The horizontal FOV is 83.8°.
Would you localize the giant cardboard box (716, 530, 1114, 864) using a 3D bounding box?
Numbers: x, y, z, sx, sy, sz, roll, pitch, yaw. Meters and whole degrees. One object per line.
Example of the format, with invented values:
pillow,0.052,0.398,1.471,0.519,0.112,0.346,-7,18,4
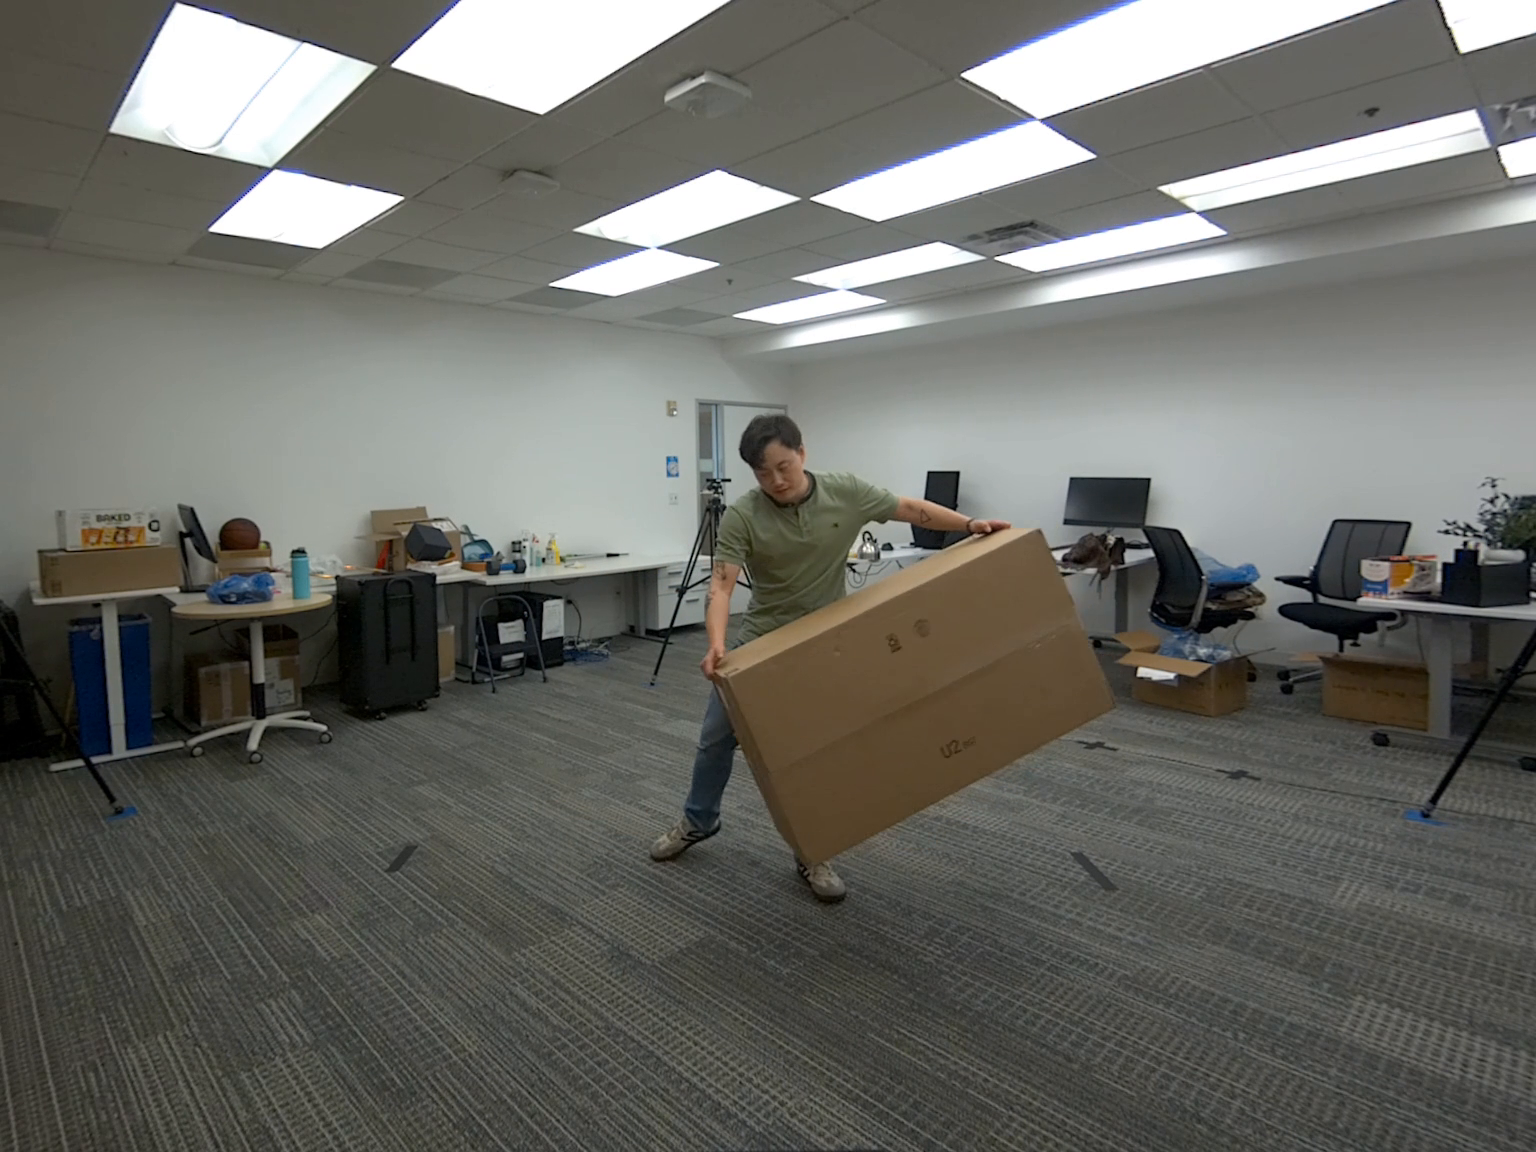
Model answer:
giant cardboard box,0.410,0.336,2.593,1.020,0.577,0.429,-25,2,-11
